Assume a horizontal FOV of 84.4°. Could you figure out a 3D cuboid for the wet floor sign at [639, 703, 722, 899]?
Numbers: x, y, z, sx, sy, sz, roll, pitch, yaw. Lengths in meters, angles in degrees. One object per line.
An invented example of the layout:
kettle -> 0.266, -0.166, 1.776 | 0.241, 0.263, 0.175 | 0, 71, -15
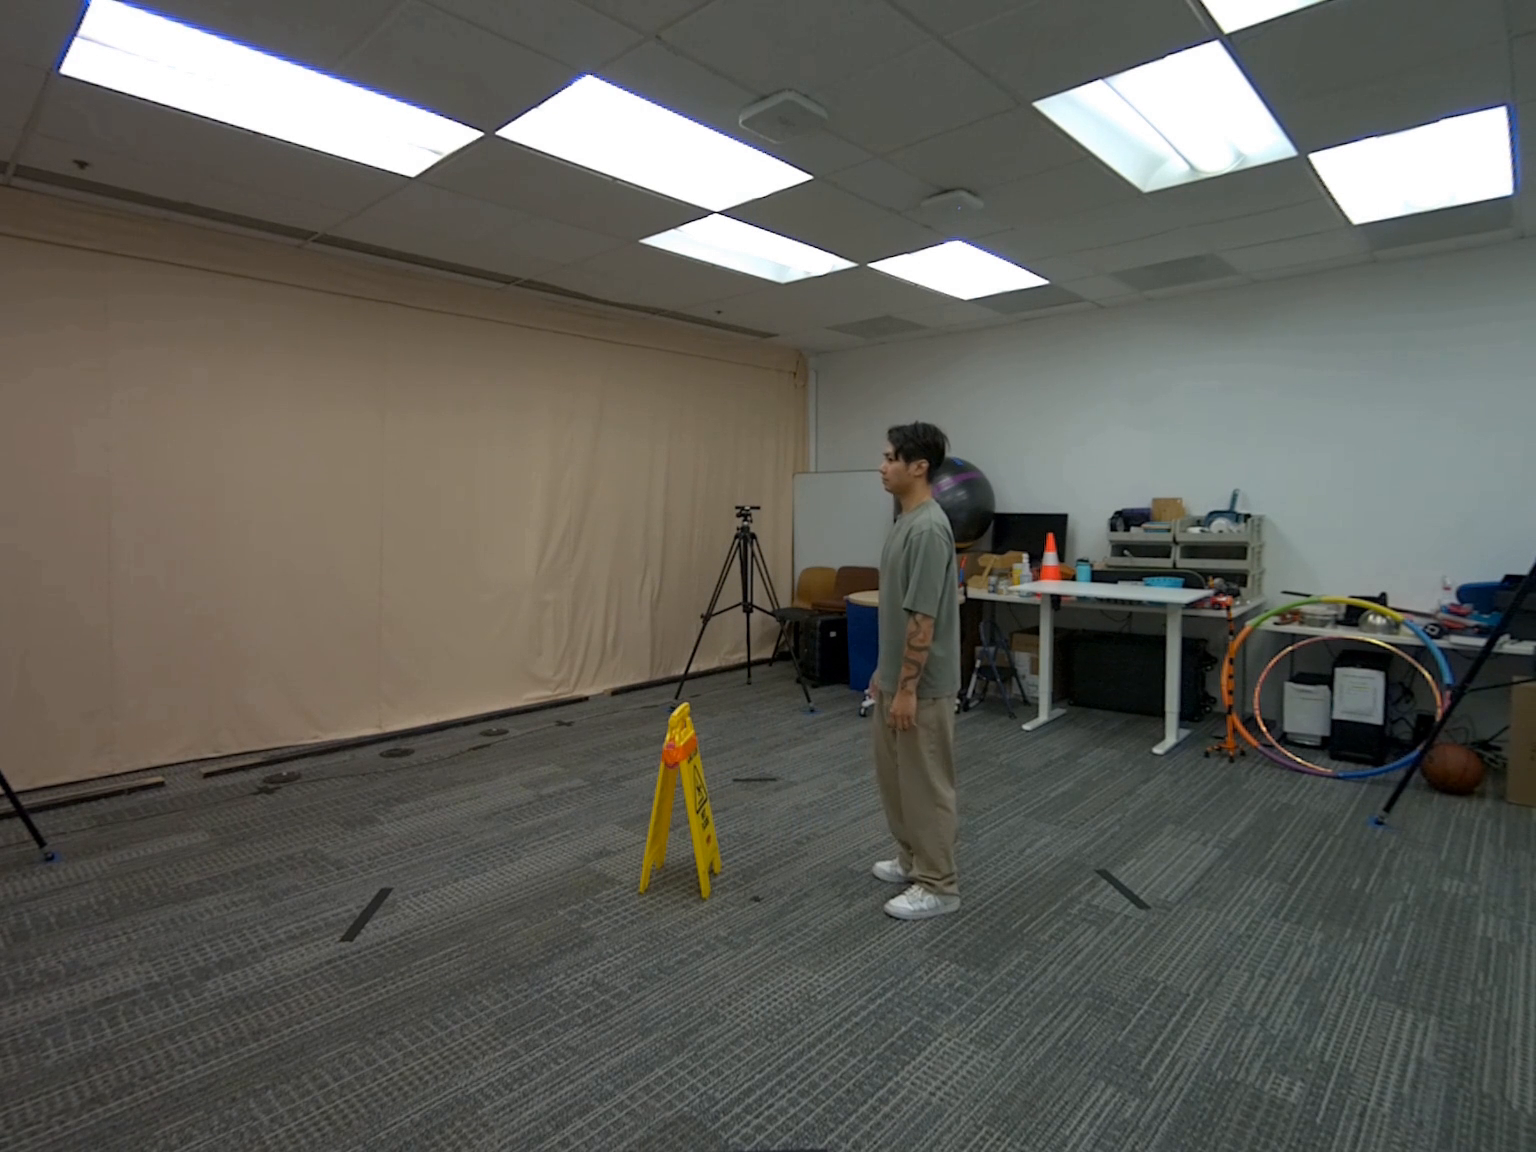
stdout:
wet floor sign -> -0.326, 0.816, 3.119 | 0.293, 0.645, 0.279 | -1, 2, 10
